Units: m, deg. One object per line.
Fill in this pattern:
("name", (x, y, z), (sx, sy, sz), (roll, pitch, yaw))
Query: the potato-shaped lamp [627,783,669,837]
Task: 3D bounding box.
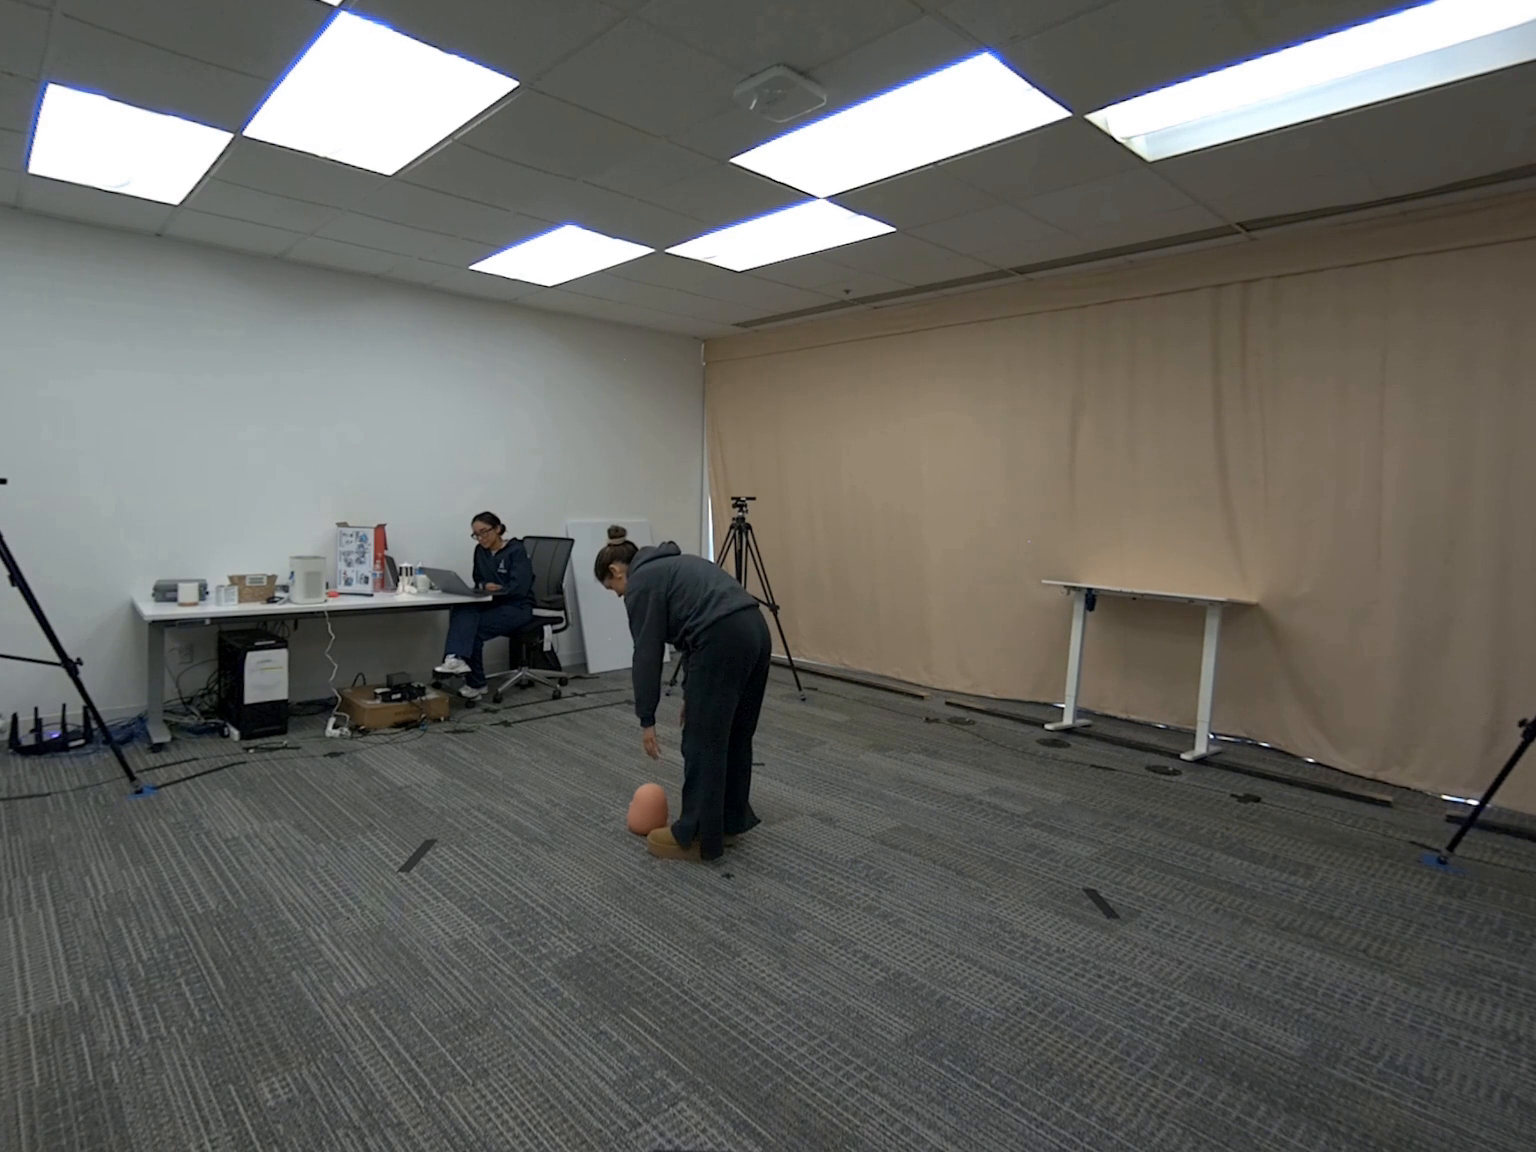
("potato-shaped lamp", (-0.506, 0.960, 3.514), (0.161, 0.197, 0.176), (-2, 7, -38))
